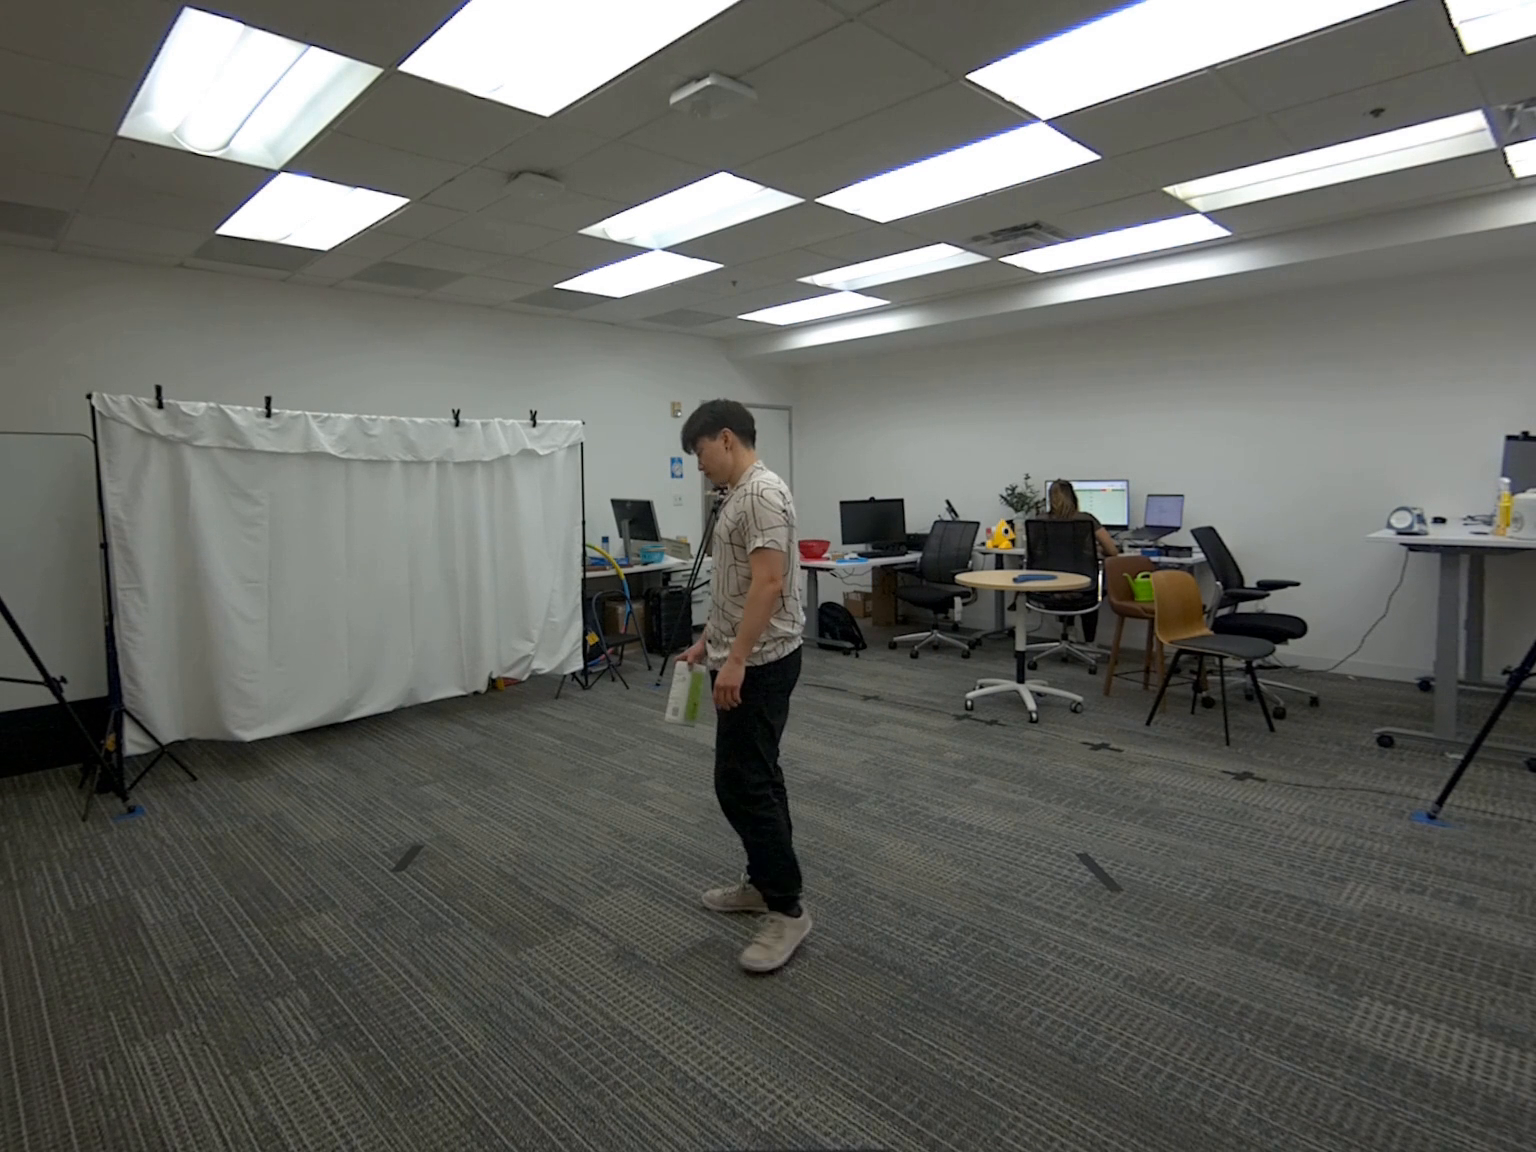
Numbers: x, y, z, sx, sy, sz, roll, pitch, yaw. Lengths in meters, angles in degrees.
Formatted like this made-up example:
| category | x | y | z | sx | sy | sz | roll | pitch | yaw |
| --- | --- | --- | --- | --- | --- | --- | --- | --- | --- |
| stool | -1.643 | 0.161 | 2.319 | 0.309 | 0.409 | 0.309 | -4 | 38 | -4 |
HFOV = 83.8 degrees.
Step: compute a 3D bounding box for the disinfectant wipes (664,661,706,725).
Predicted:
| category | x | y | z | sx | sy | sz | roll | pitch | yaw |
| --- | --- | --- | --- | --- | --- | --- | --- | --- | --- |
| disinfectant wipes | -0.273 | 0.418 | 2.987 | 0.118 | 0.219 | 0.117 | 10 | -10 | 0 |
